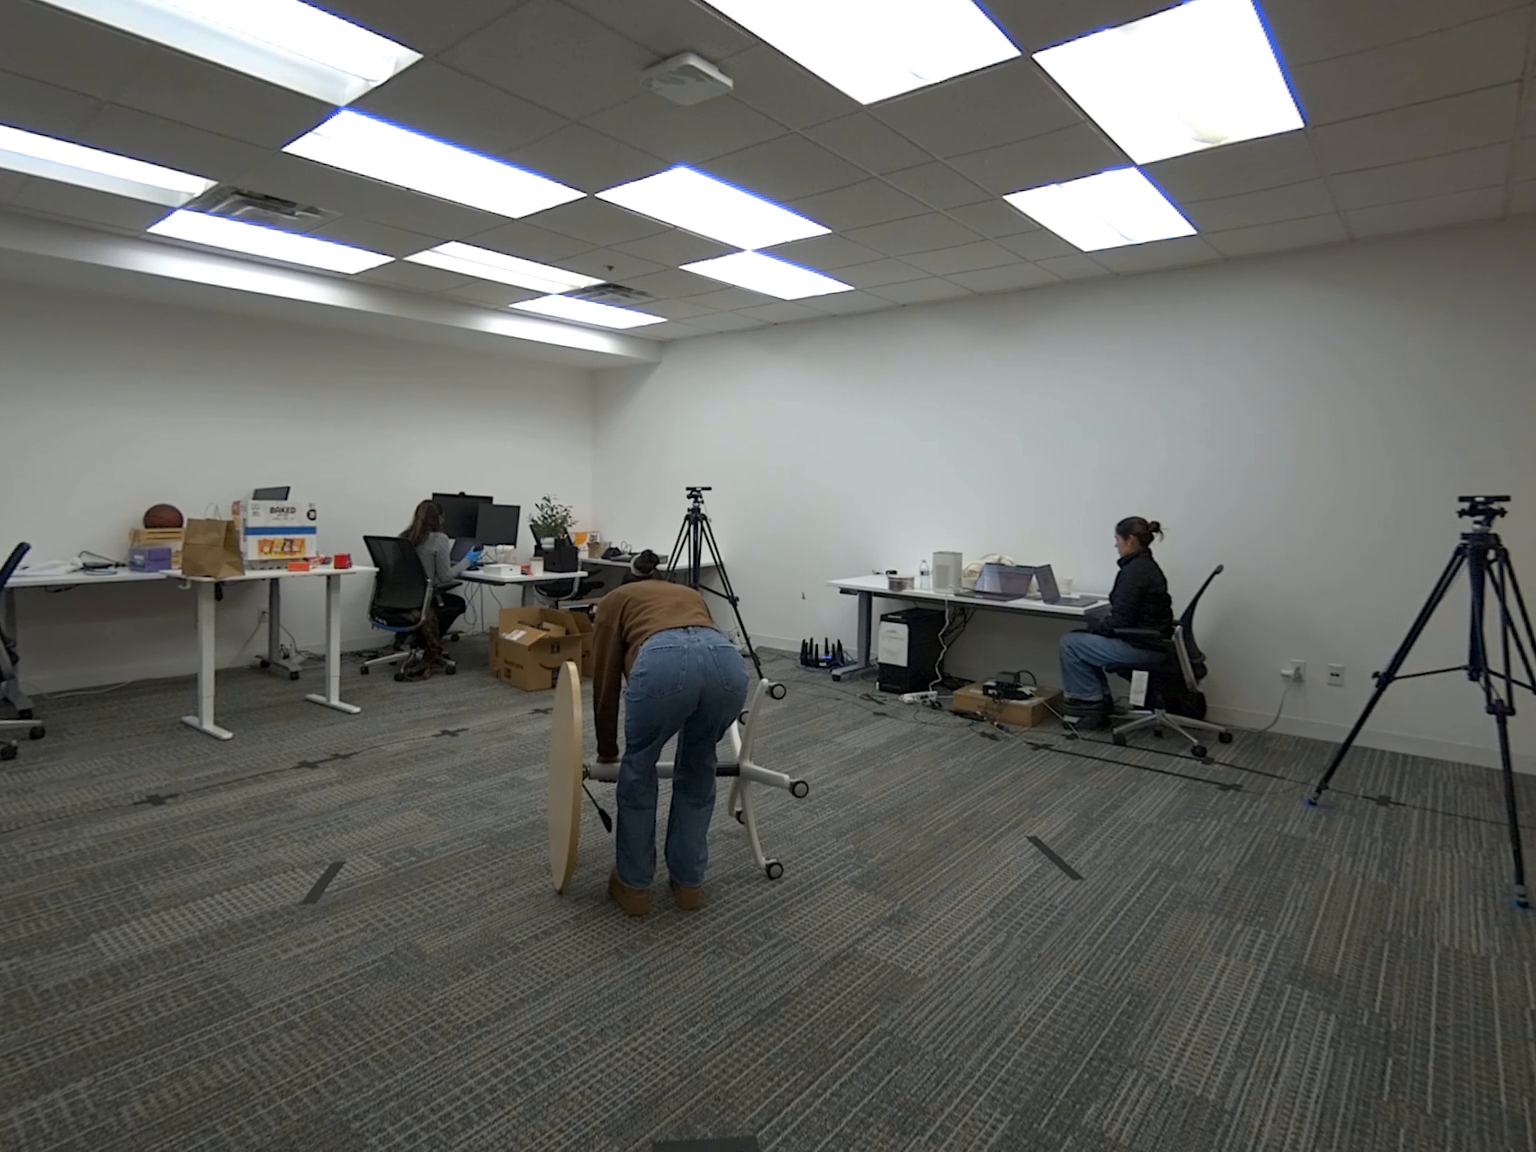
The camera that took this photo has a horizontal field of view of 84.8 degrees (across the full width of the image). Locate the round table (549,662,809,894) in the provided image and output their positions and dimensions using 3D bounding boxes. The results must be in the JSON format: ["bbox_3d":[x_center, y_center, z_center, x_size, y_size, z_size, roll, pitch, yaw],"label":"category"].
[{"bbox_3d":[-0.361,0.717,3.090,0.779,0.763,0.780,4,3,-18],"label":"round table"}]
